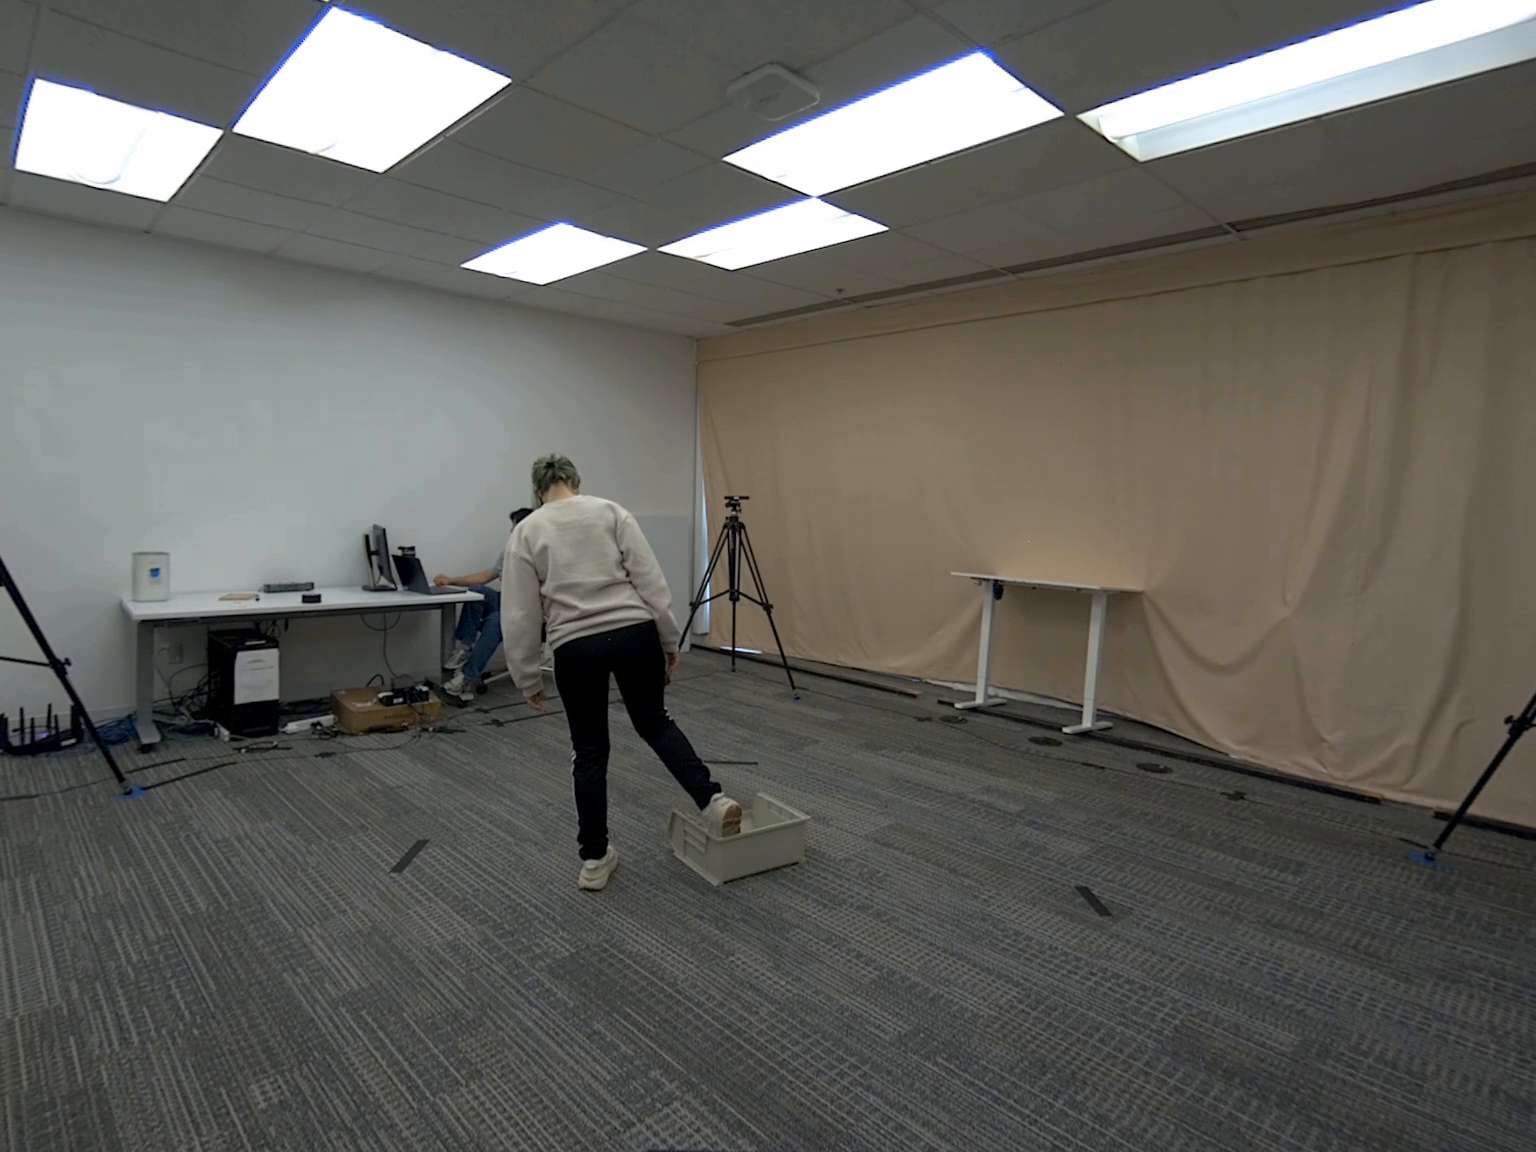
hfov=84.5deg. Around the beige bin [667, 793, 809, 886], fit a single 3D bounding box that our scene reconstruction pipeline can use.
[{"bbox_3d":[-0.126,0.999,3.255,0.413,0.188,0.387,-2,7,-34],"label":"beige bin"}]
